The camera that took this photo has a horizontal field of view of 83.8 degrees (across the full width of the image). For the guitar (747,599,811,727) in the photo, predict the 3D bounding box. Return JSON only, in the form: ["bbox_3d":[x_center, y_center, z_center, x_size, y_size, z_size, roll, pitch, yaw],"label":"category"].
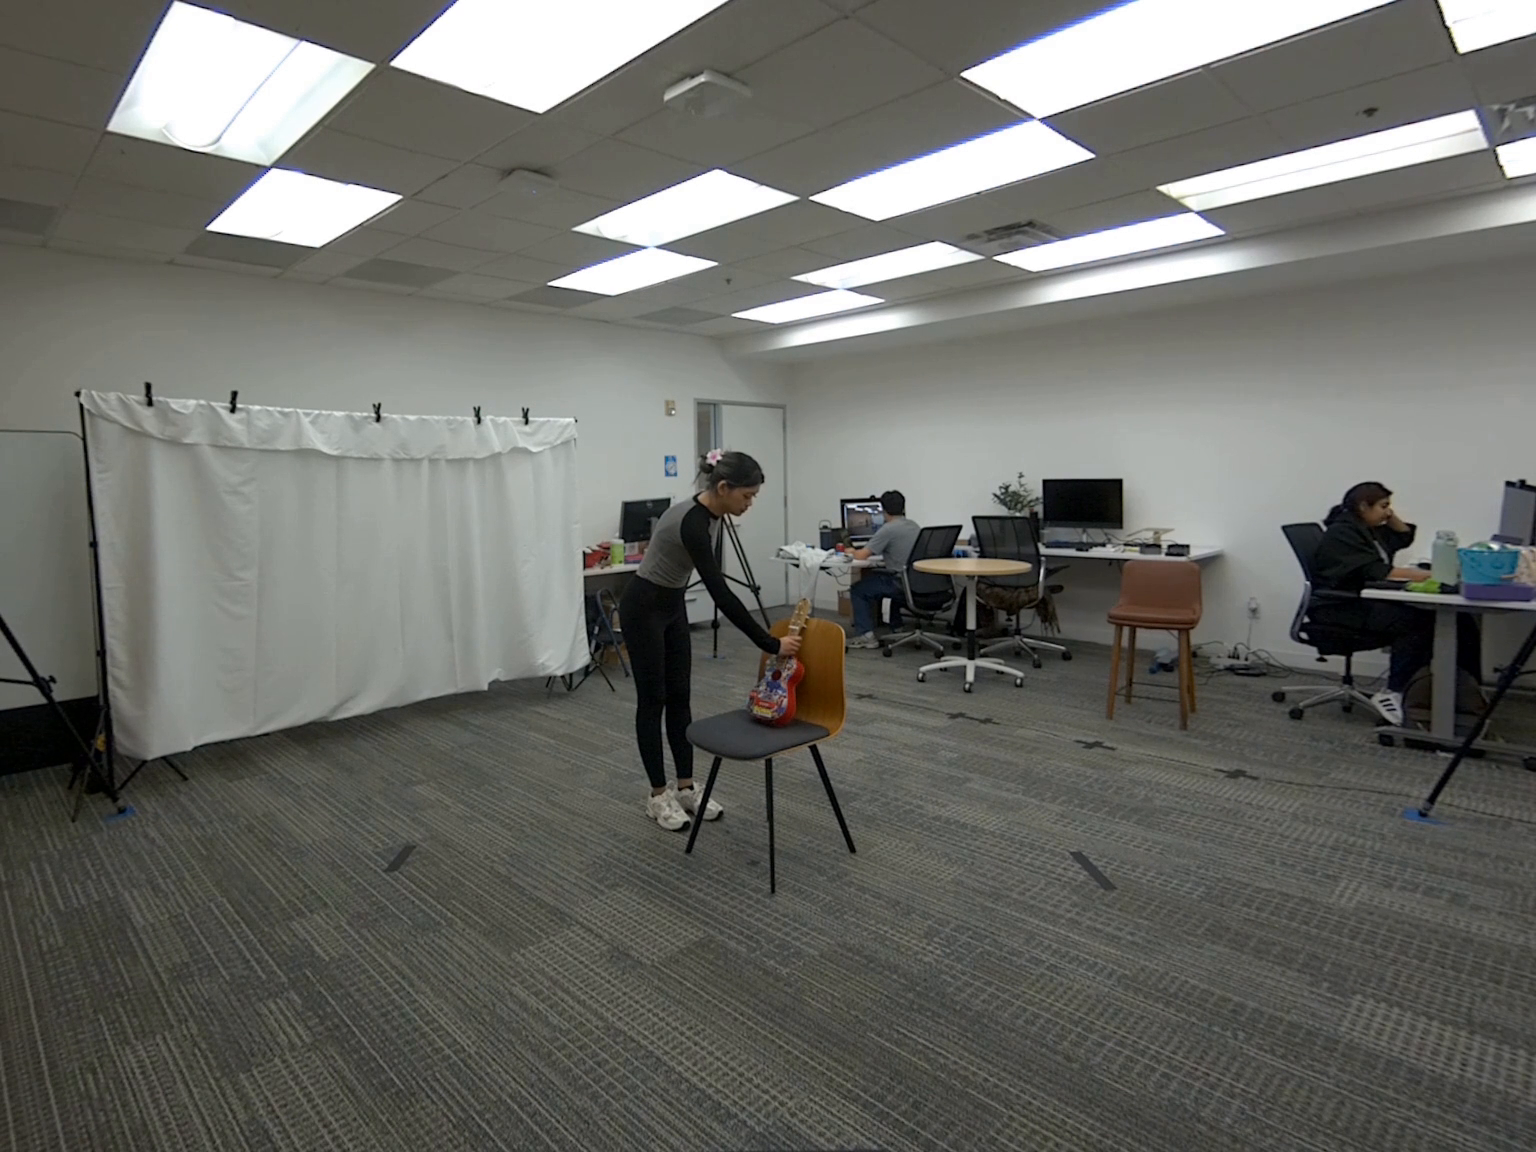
[{"bbox_3d":[0.093,0.329,3.261,0.200,0.500,0.068,16,-17,44],"label":"guitar"}]
